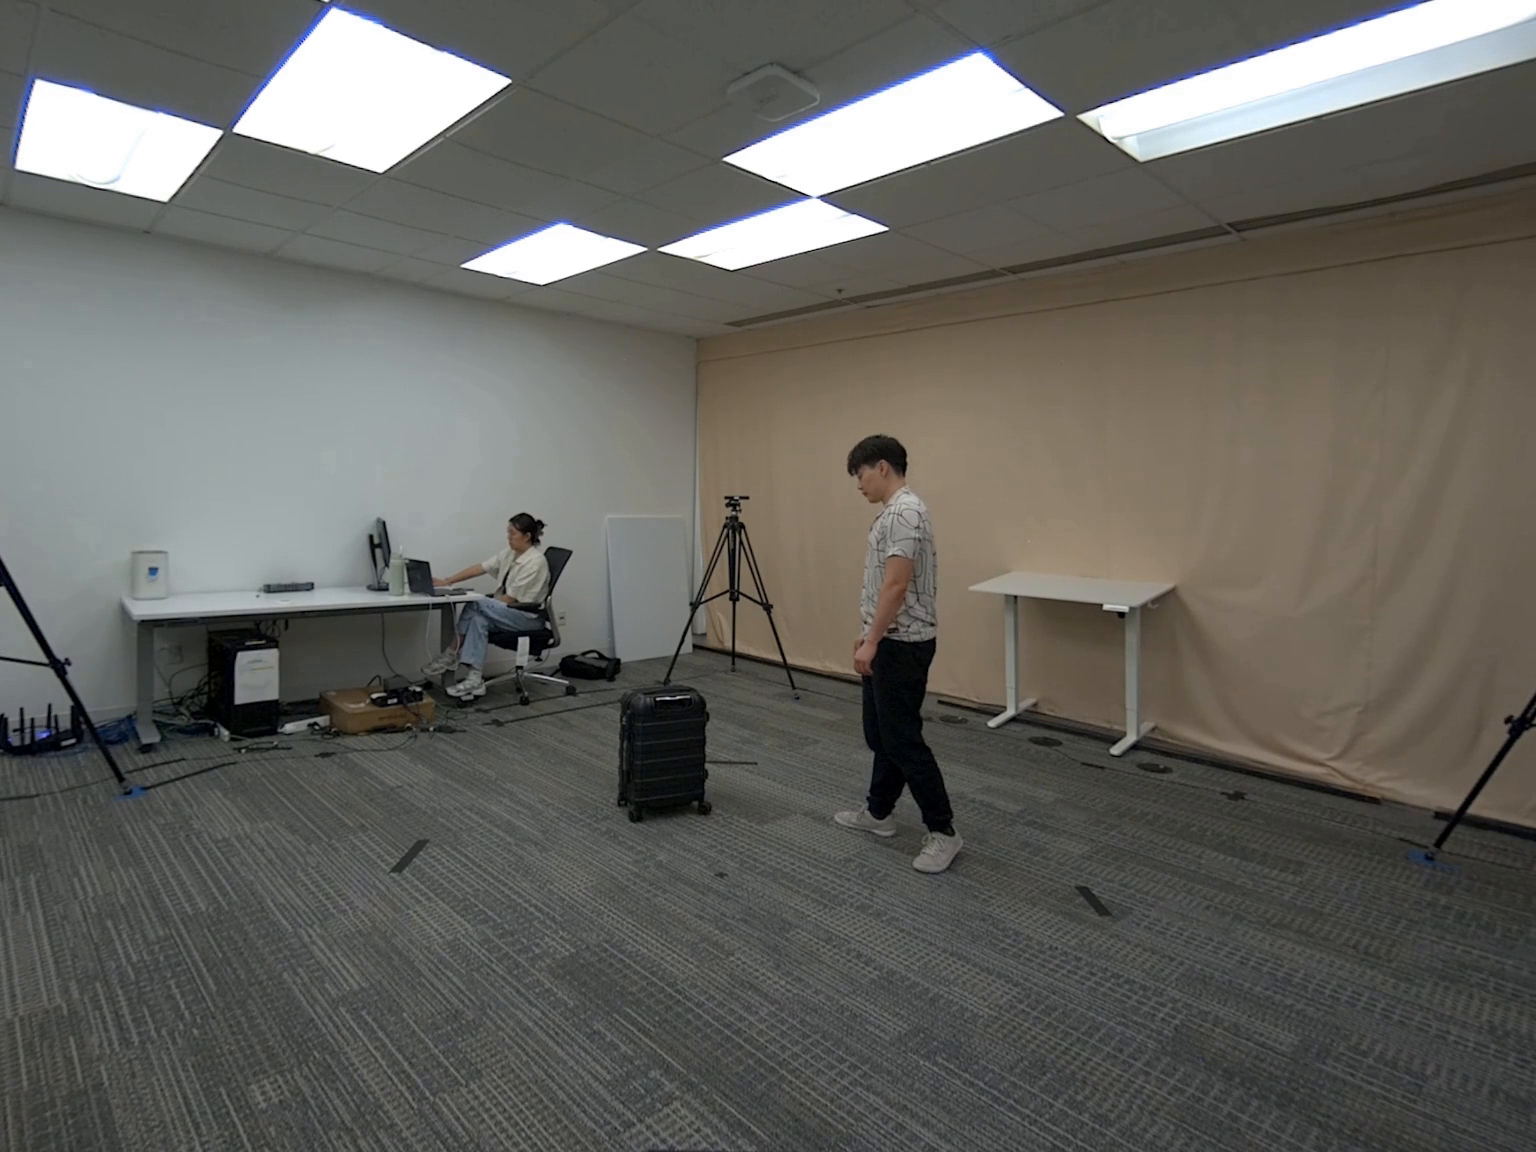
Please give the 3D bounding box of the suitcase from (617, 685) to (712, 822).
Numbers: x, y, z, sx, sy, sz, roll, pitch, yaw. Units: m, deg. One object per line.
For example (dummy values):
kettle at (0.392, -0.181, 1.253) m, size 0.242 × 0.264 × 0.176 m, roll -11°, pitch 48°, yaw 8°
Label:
suitcase at (-0.473, 0.760, 3.727) m, size 0.368 × 0.548 × 0.253 m, roll 0°, pitch 3°, yaw -26°
